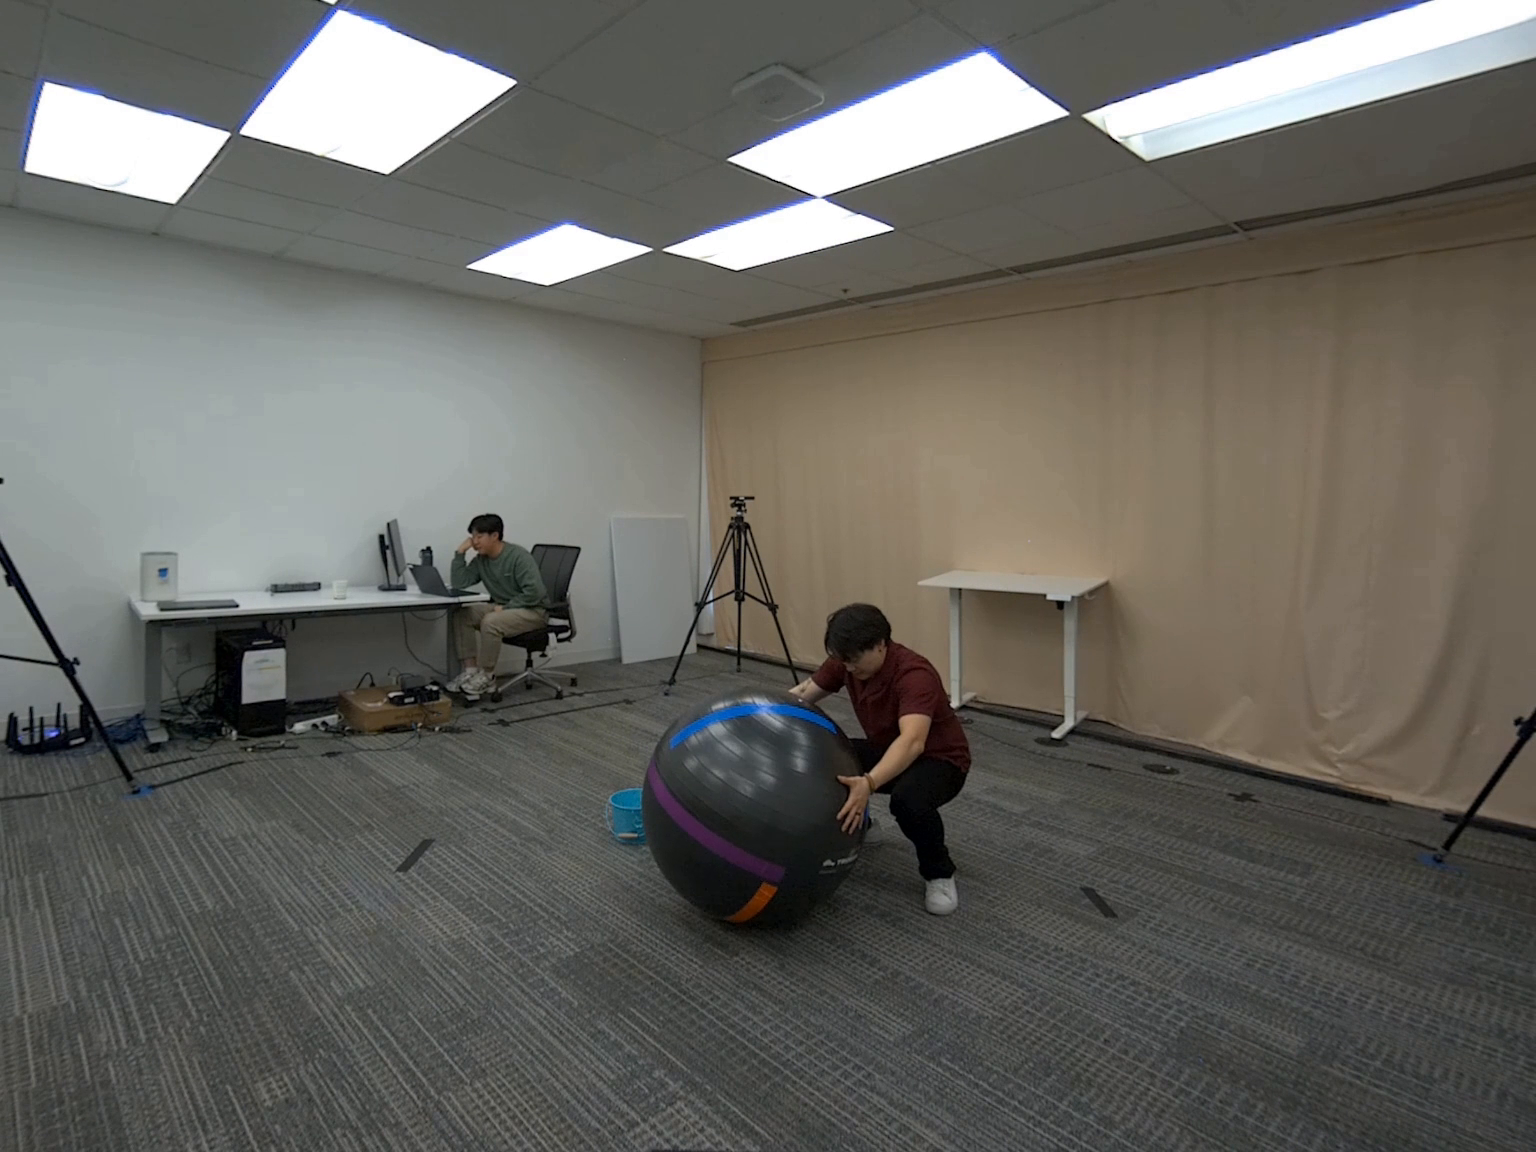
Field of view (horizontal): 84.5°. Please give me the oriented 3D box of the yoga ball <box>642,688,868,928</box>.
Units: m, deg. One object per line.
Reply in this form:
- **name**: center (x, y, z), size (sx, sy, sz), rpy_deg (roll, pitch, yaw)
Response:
- **yoga ball**: center (-0.040, 0.767, 2.813), size (0.757, 0.756, 0.761), rpy_deg (1, 4, -1)
